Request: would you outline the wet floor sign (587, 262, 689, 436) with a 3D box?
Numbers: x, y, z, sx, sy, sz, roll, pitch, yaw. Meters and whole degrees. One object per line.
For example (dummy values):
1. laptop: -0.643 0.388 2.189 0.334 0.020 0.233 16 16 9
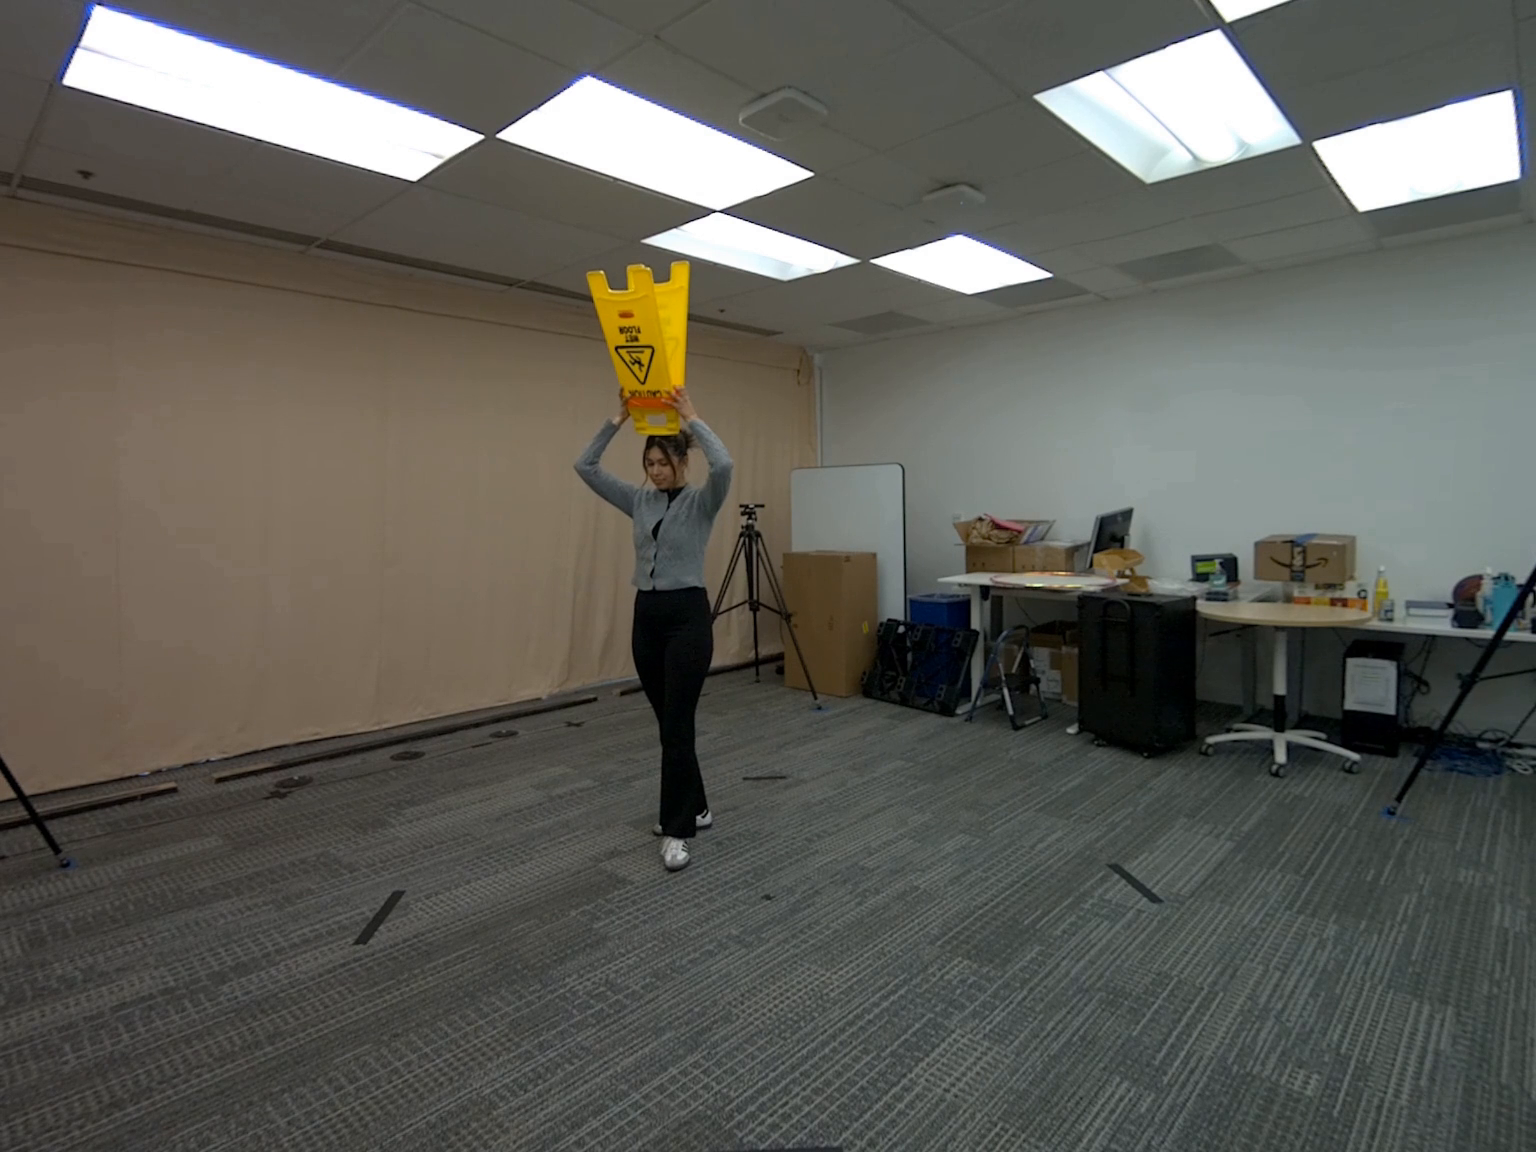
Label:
1. wet floor sign: -0.463 -0.868 3.283 0.290 0.636 0.286 6 25 26
